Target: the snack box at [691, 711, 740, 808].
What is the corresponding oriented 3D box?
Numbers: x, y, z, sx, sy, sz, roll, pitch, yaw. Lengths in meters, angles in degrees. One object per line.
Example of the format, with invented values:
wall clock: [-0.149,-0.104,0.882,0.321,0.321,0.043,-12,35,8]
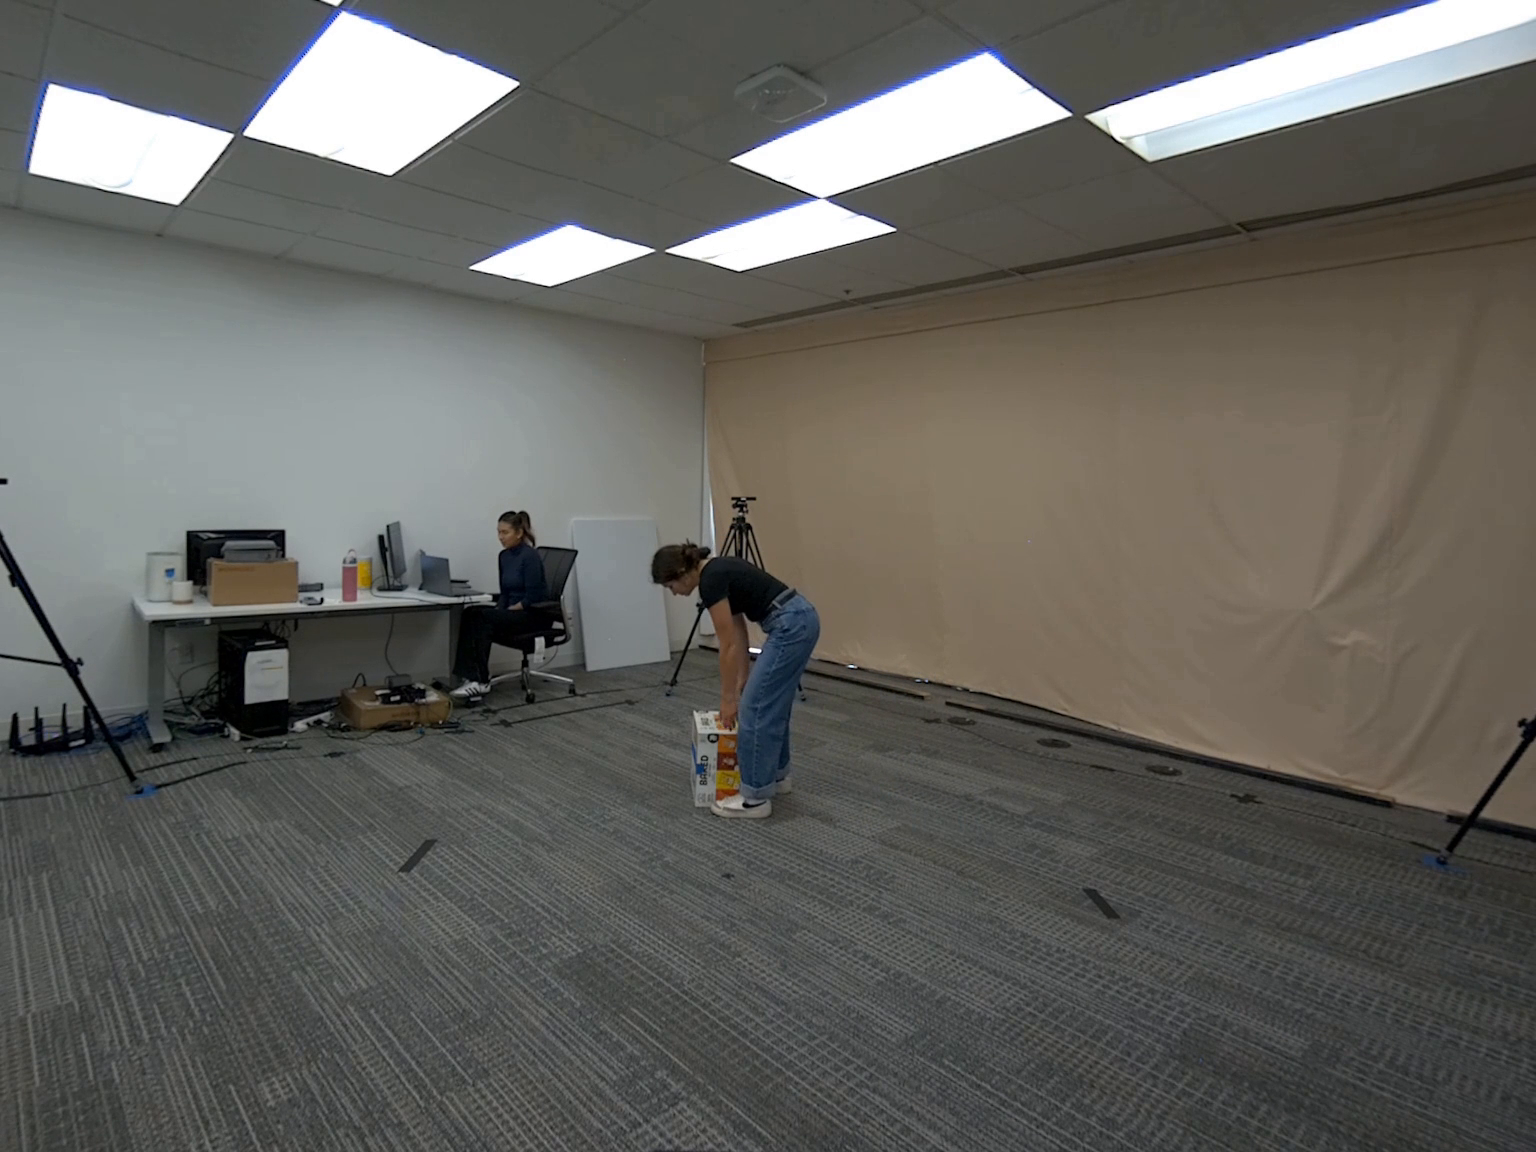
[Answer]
snack box: [-0.259,0.858,3.988,0.204,0.339,0.408,3,4,-8]
